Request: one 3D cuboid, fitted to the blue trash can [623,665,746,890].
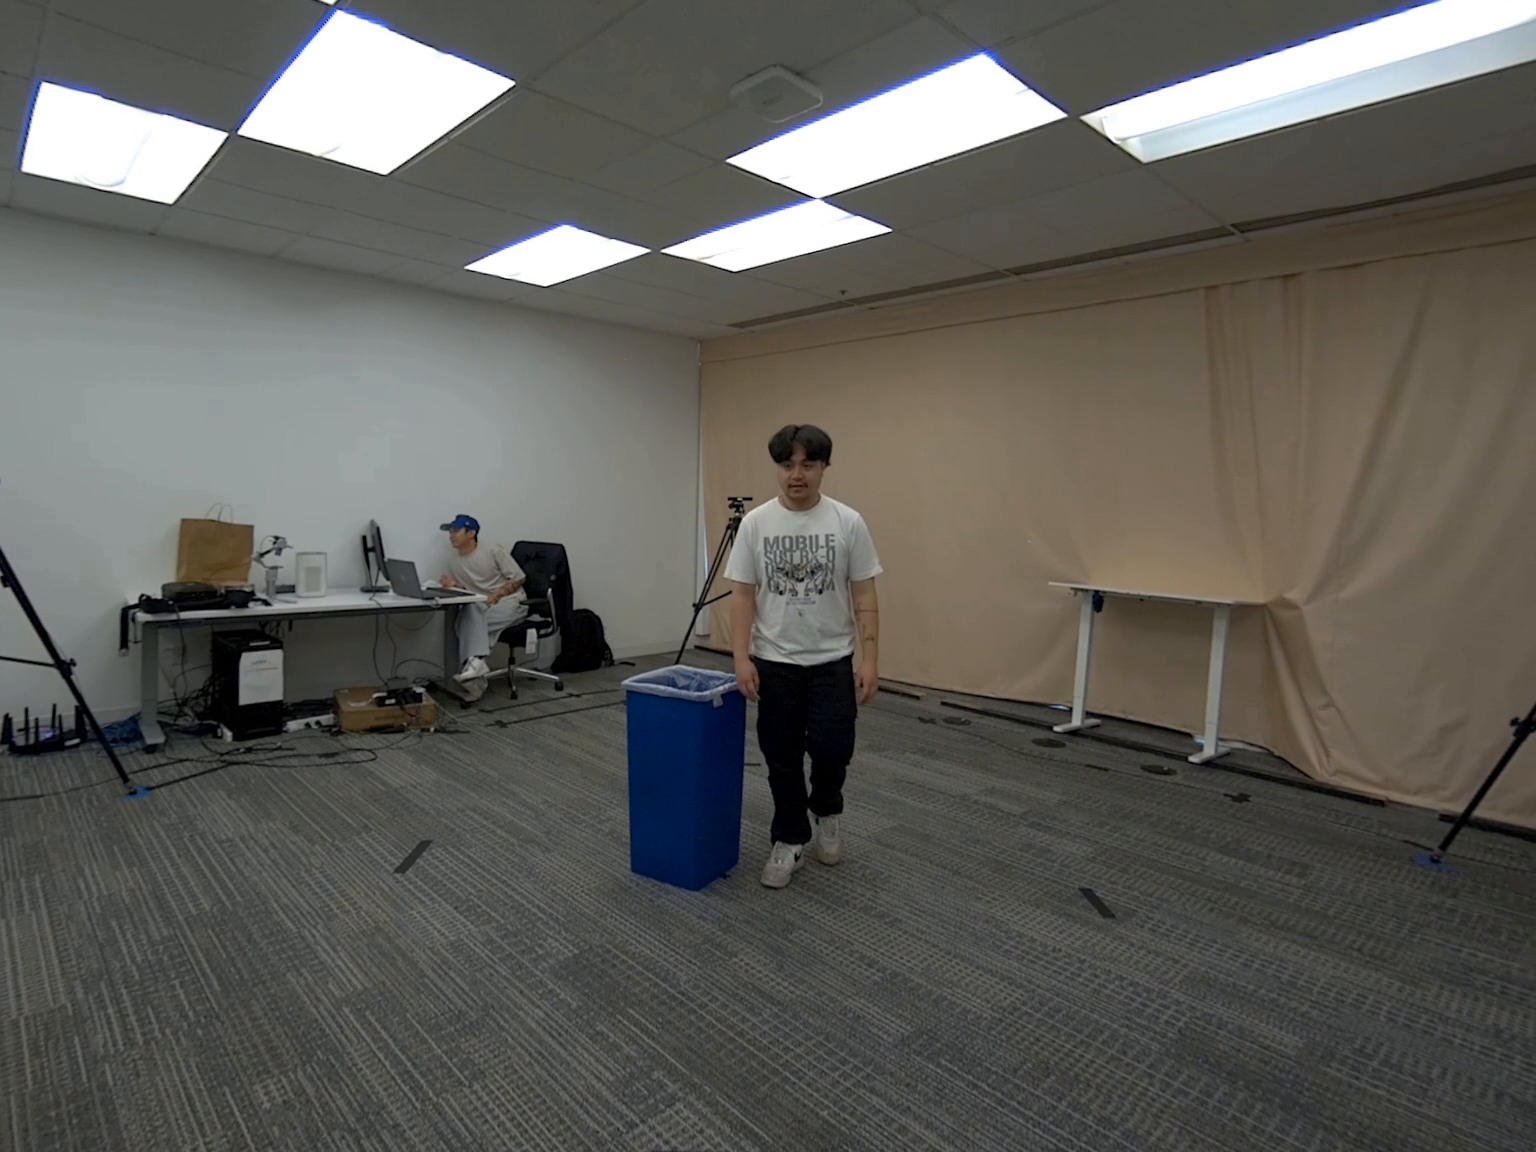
[{"bbox_3d":[-0.317,0.740,3.156,0.382,0.712,0.370,4,4,30],"label":"blue trash can"}]
